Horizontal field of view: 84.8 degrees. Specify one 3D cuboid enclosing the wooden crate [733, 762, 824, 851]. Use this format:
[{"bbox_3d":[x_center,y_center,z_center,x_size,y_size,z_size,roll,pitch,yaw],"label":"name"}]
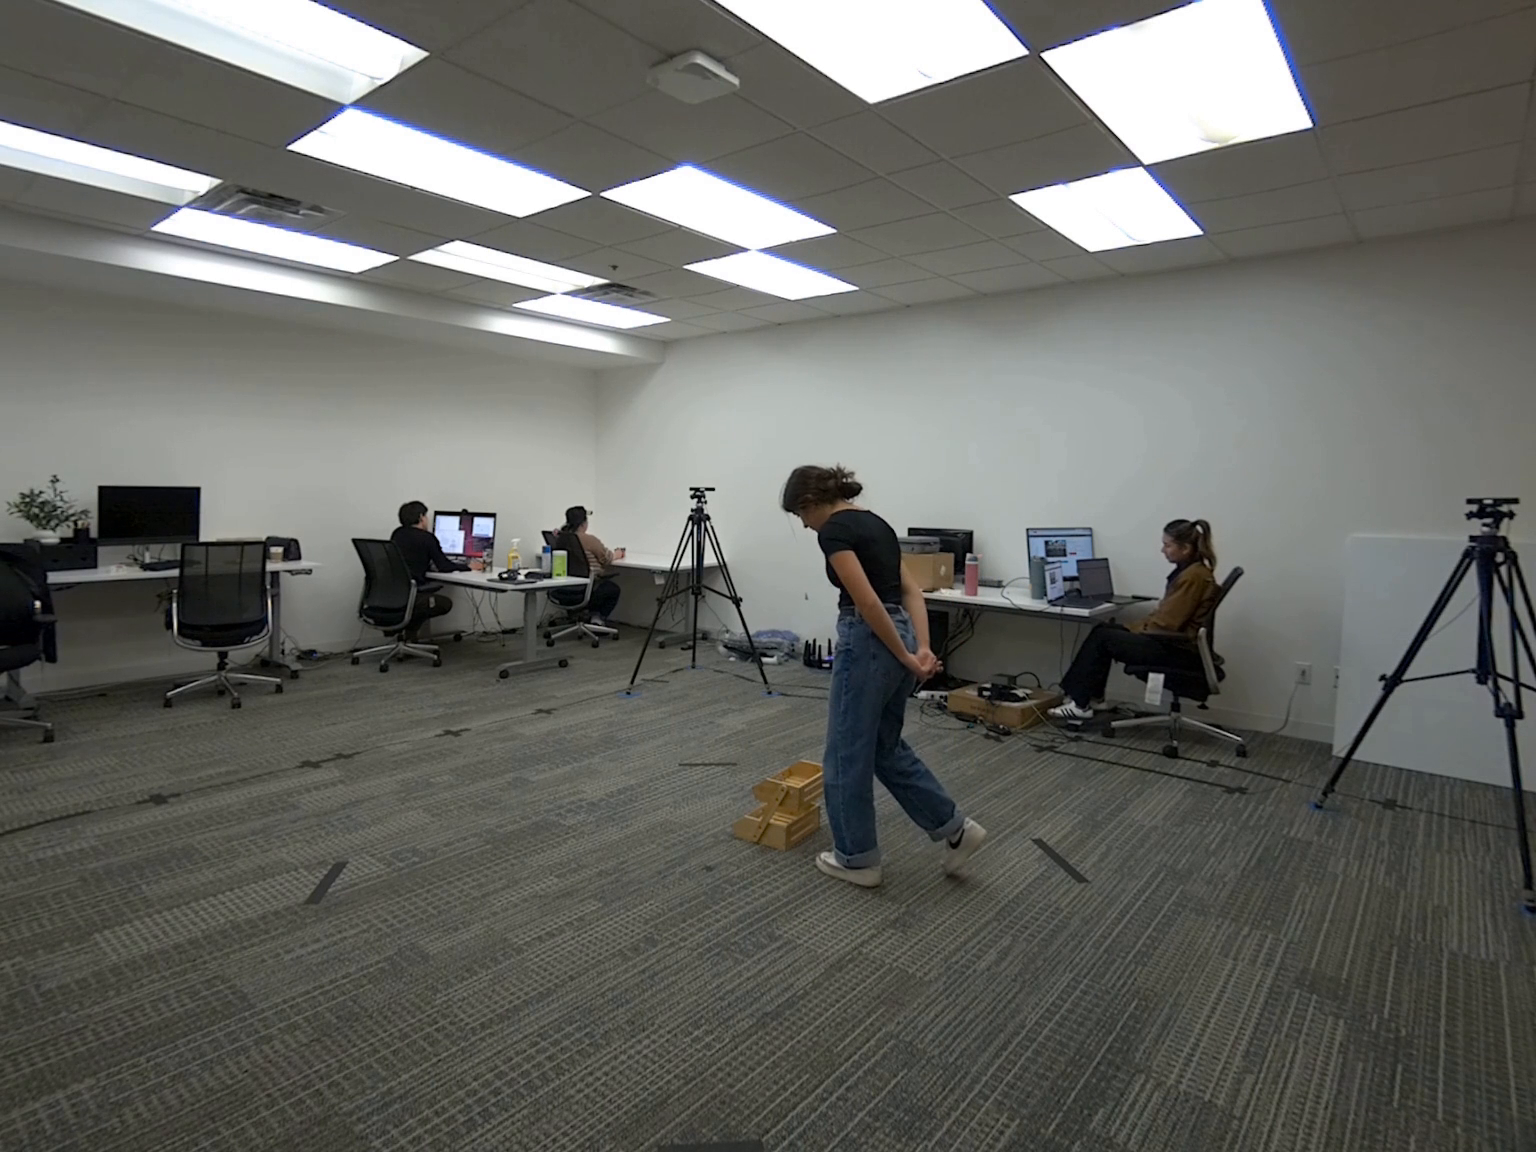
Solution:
[{"bbox_3d":[0.049,0.907,3.450,0.311,0.272,0.316,5,6,31],"label":"wooden crate"}]
